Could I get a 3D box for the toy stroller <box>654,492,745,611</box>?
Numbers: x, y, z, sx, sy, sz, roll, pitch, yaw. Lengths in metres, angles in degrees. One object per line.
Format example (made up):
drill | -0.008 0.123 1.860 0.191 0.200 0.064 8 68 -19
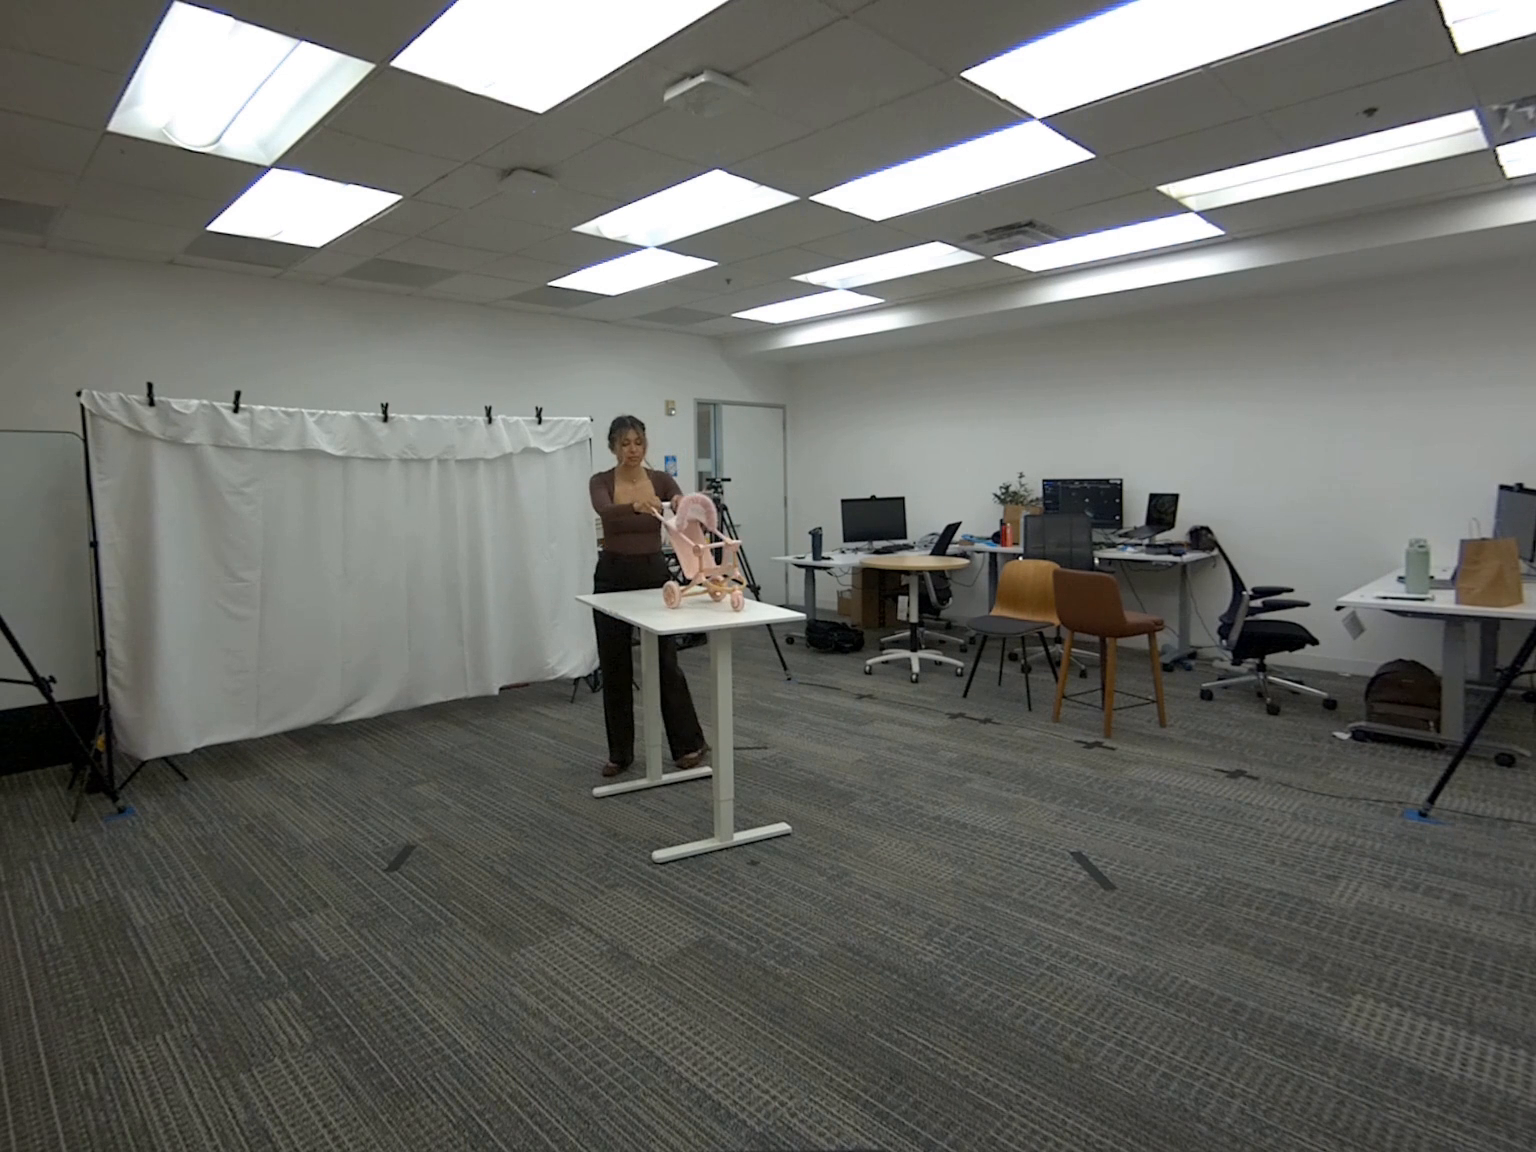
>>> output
toy stroller | -0.268 -0.097 3.449 0.274 0.540 0.347 -7 -9 -40
